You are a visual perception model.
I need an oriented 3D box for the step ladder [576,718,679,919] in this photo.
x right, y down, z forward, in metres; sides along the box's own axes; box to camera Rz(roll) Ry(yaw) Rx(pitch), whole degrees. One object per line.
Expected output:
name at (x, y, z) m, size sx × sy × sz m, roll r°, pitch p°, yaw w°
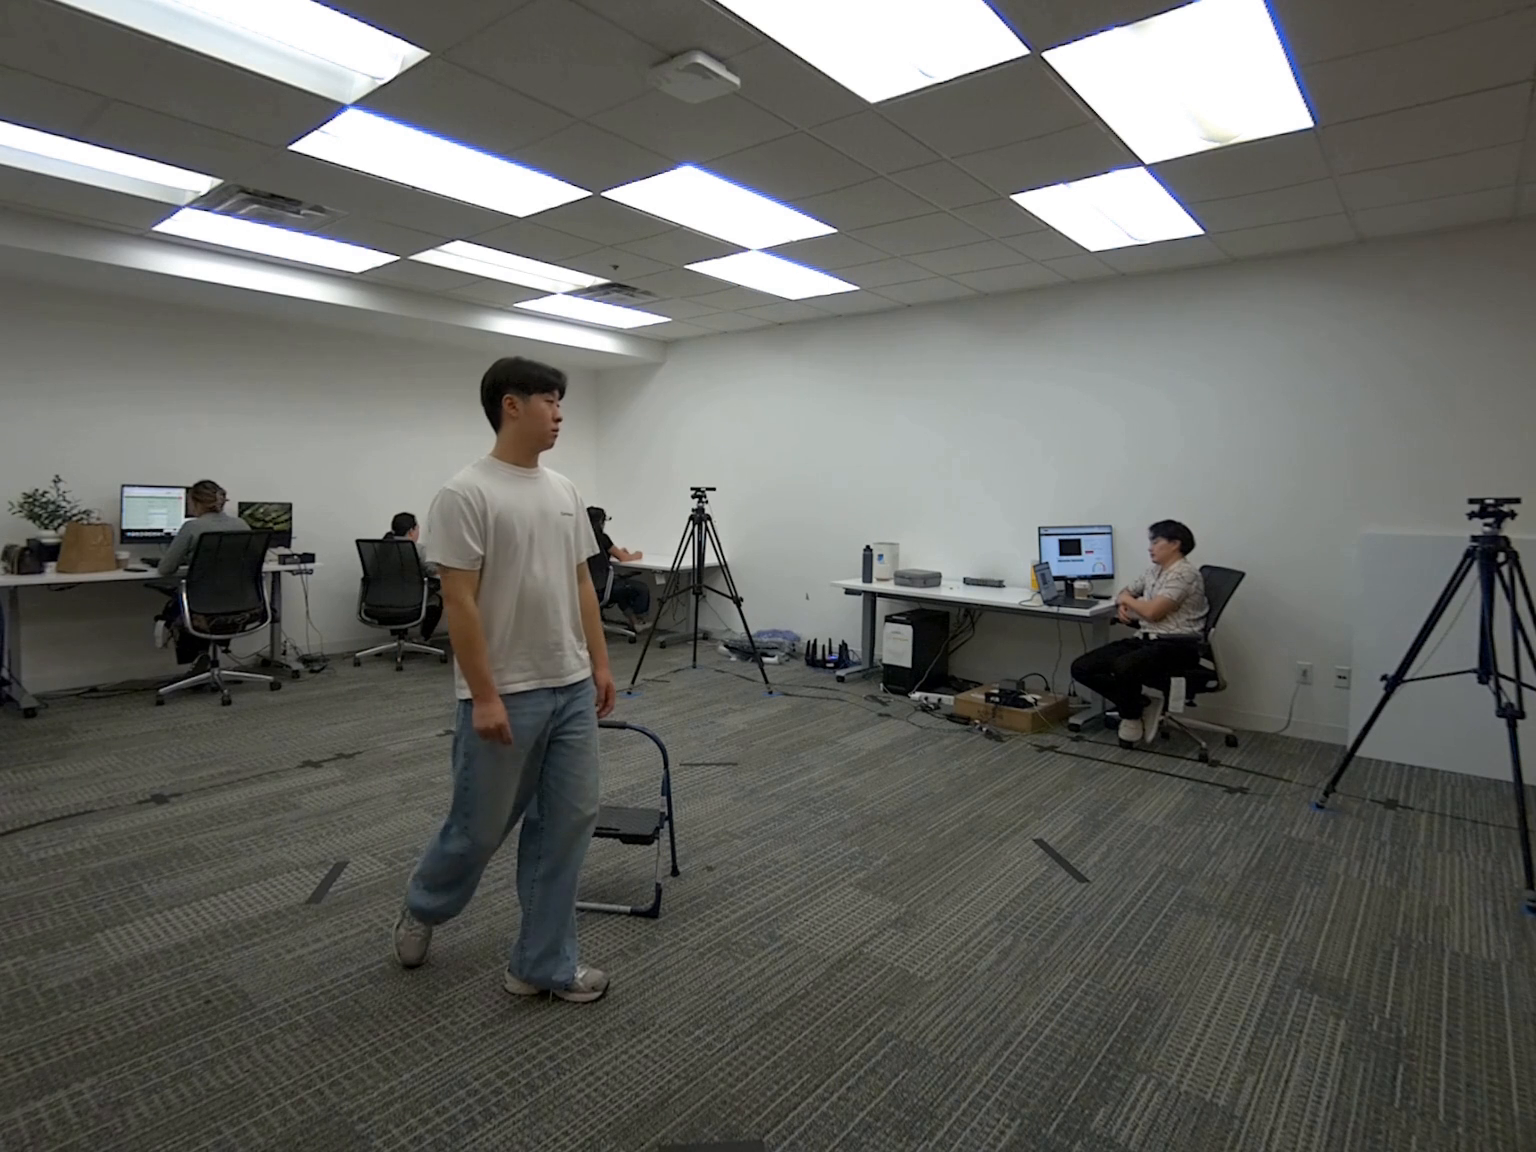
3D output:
step ladder at (-0.548, 0.776, 2.909) m, size 0.434 × 0.604 × 0.348 m, roll 1°, pitch 3°, yaw 6°
